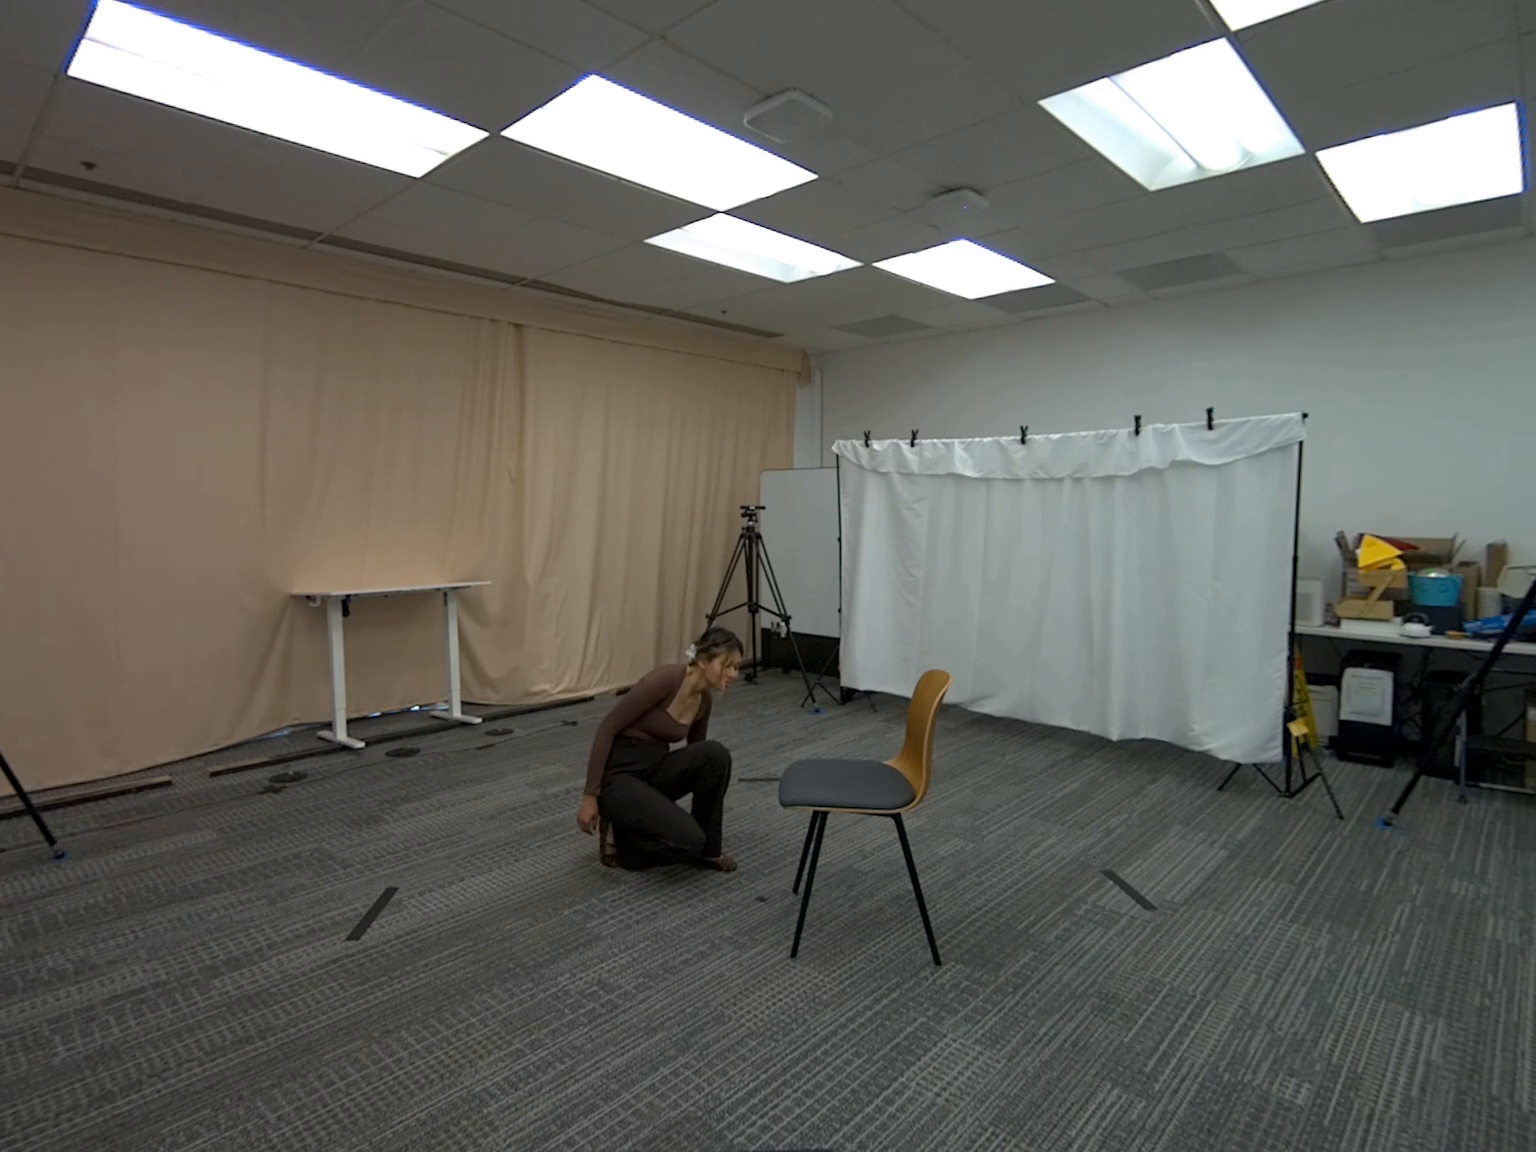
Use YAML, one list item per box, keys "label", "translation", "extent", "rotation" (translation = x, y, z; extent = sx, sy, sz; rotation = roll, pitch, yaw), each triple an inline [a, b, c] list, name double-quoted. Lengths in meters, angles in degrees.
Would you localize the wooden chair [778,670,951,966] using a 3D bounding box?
- label: "wooden chair"
  translation: [0.304, 0.734, 2.755]
  extent: [0.526, 0.875, 0.476]
  rotation: [4, 4, 4]
